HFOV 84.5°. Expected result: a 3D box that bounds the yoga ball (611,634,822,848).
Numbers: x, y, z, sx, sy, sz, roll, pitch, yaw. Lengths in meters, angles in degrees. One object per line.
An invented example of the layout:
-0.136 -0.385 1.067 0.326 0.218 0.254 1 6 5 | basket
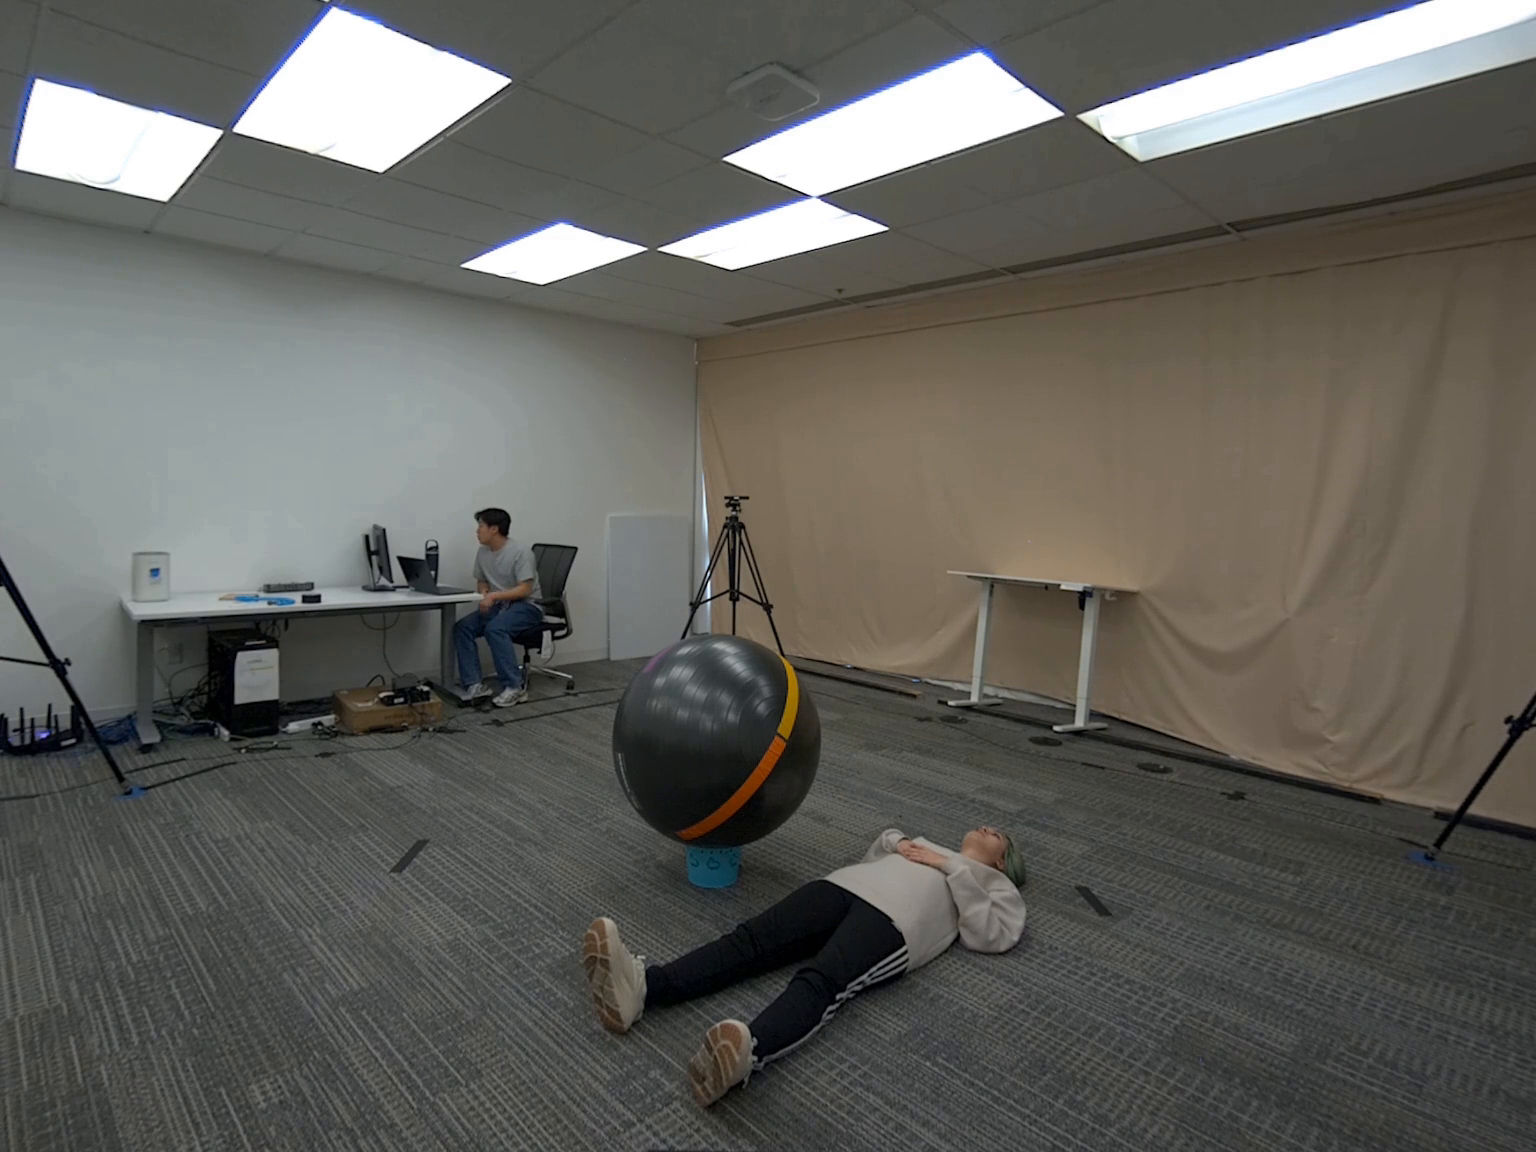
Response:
-0.191 0.594 3.063 0.757 0.756 0.761 1 4 -1 | yoga ball
